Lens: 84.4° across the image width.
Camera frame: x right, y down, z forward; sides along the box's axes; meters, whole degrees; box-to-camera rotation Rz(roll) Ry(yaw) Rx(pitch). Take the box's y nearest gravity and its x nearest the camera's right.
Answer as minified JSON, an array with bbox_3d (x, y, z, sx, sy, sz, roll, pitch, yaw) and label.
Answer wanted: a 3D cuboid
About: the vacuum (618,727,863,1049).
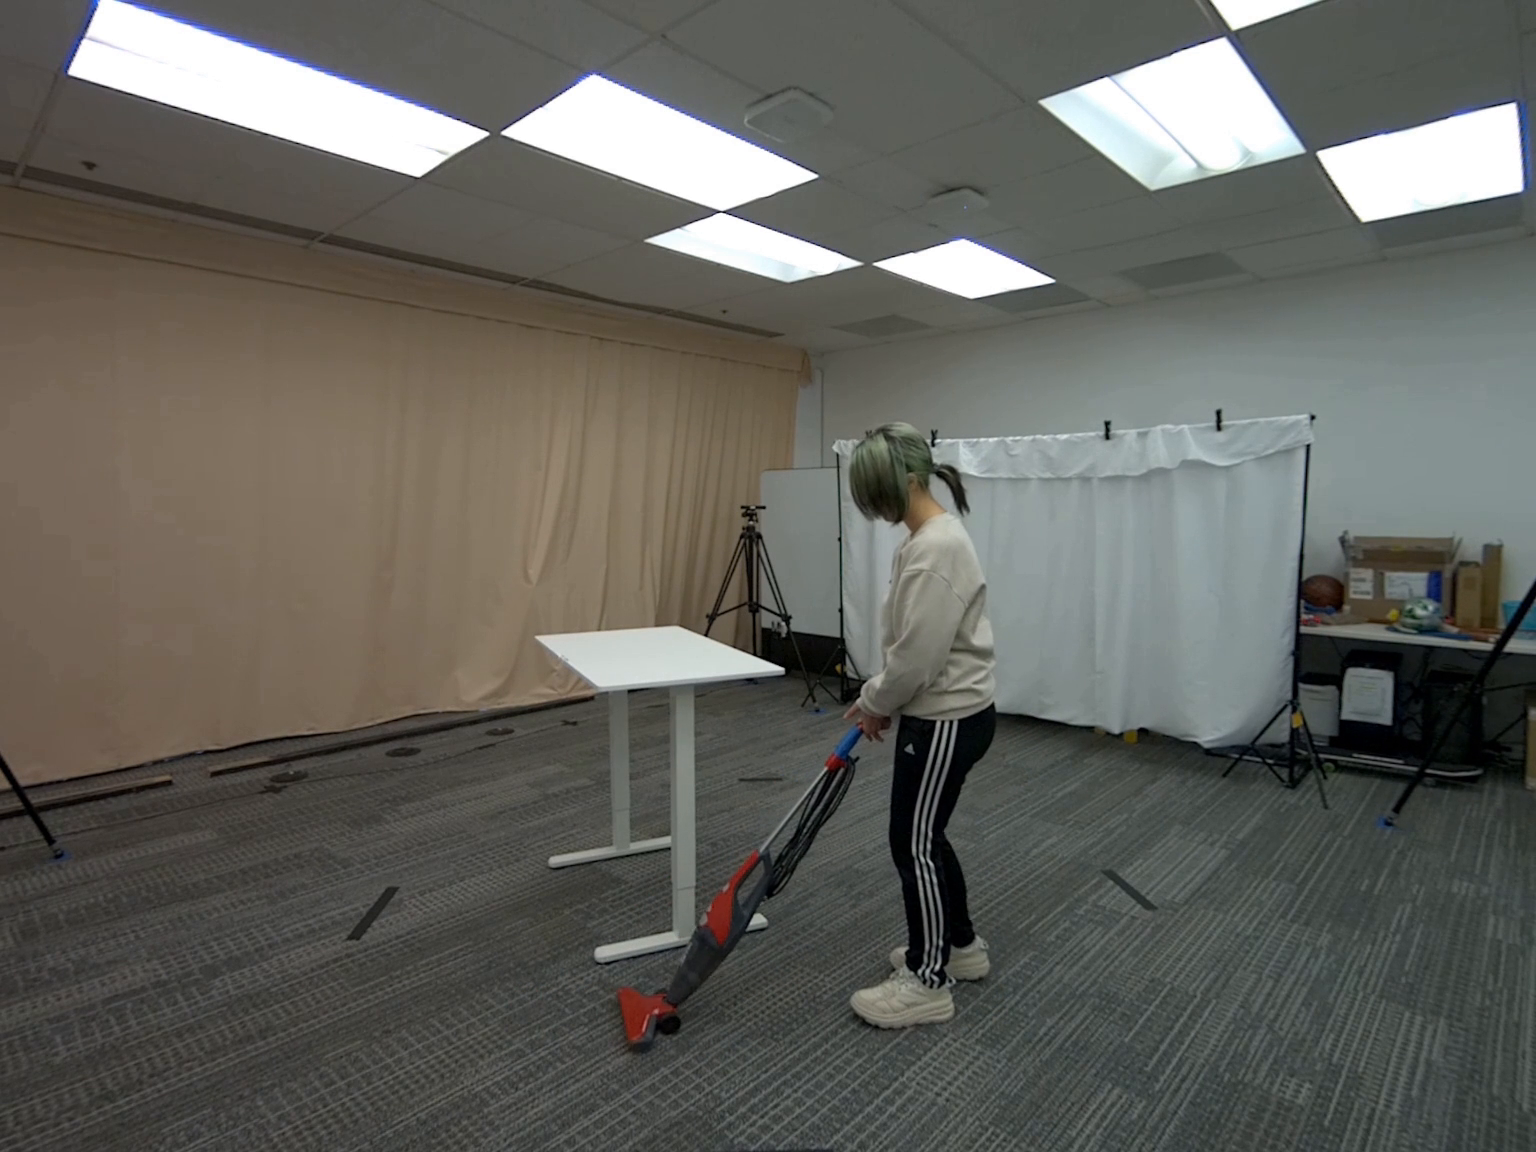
[{"bbox_3d":[0.006,0.817,2.336,0.140,1.047,0.259,45,-9,-23],"label":"vacuum"}]
